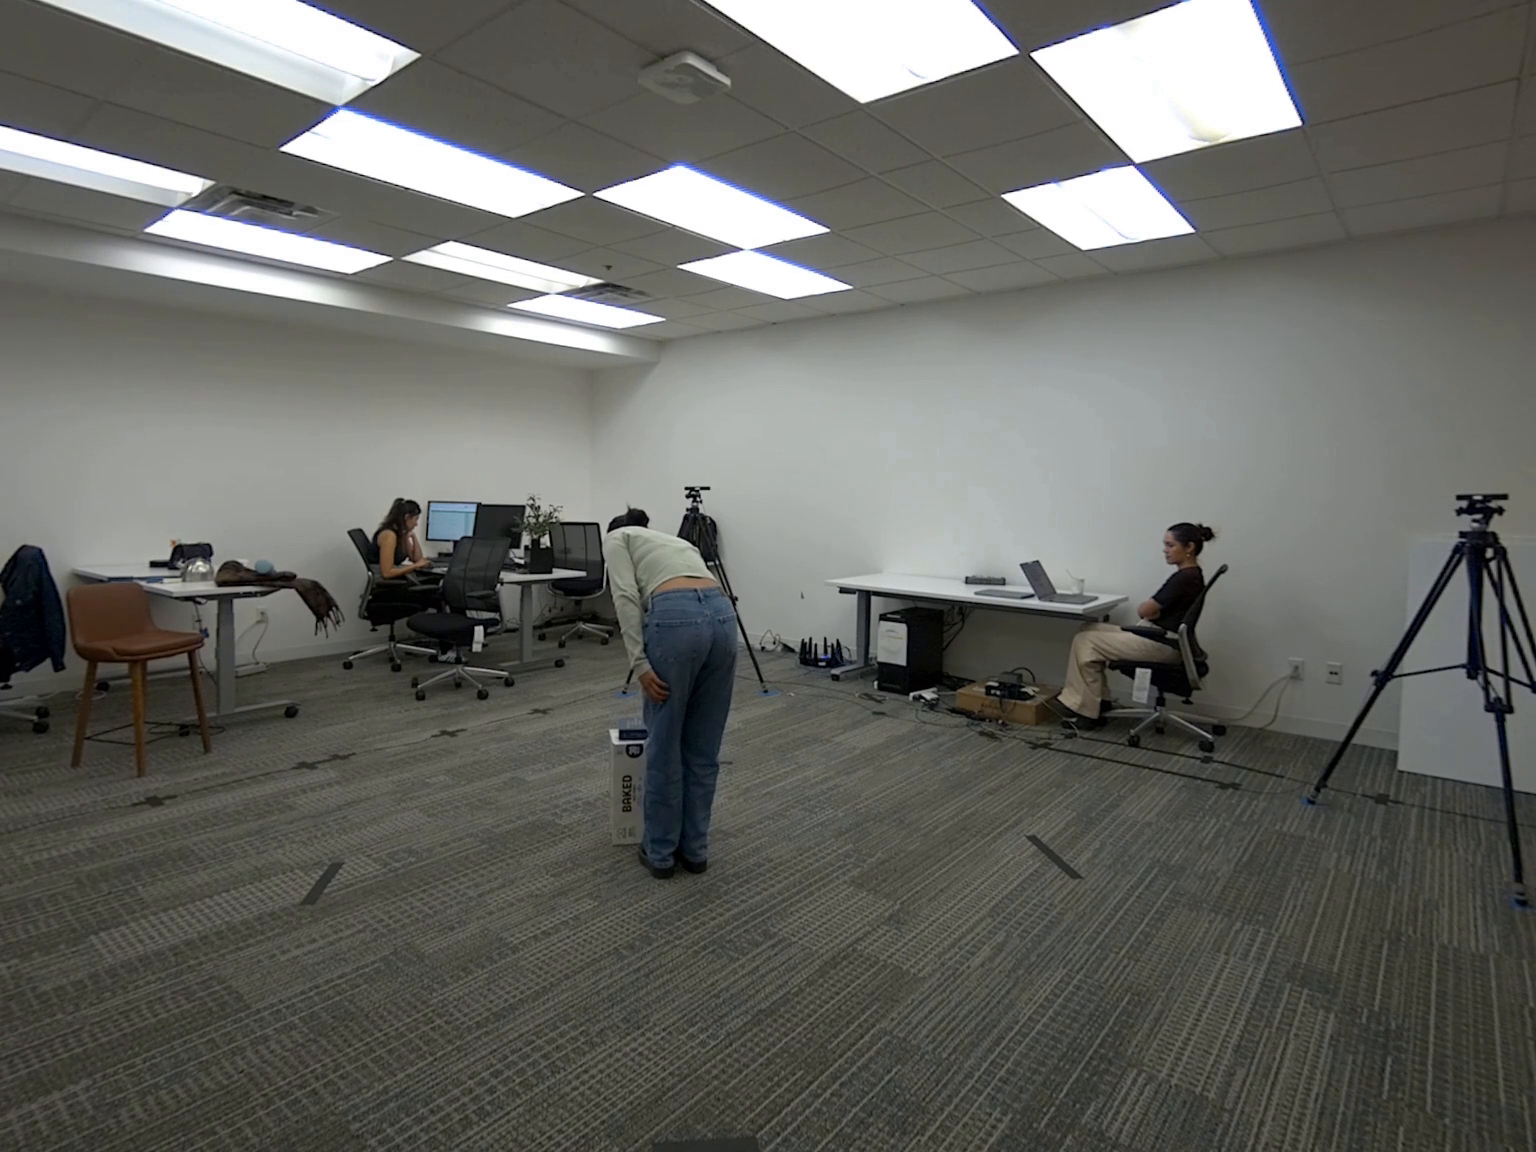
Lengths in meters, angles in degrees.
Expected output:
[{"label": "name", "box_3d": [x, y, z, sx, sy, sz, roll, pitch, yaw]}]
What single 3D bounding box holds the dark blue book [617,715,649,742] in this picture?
[{"label": "dark blue book", "box_3d": [-0.484, 0.611, 3.398, 0.244, 0.045, 0.165, 0, 5, -5]}]
